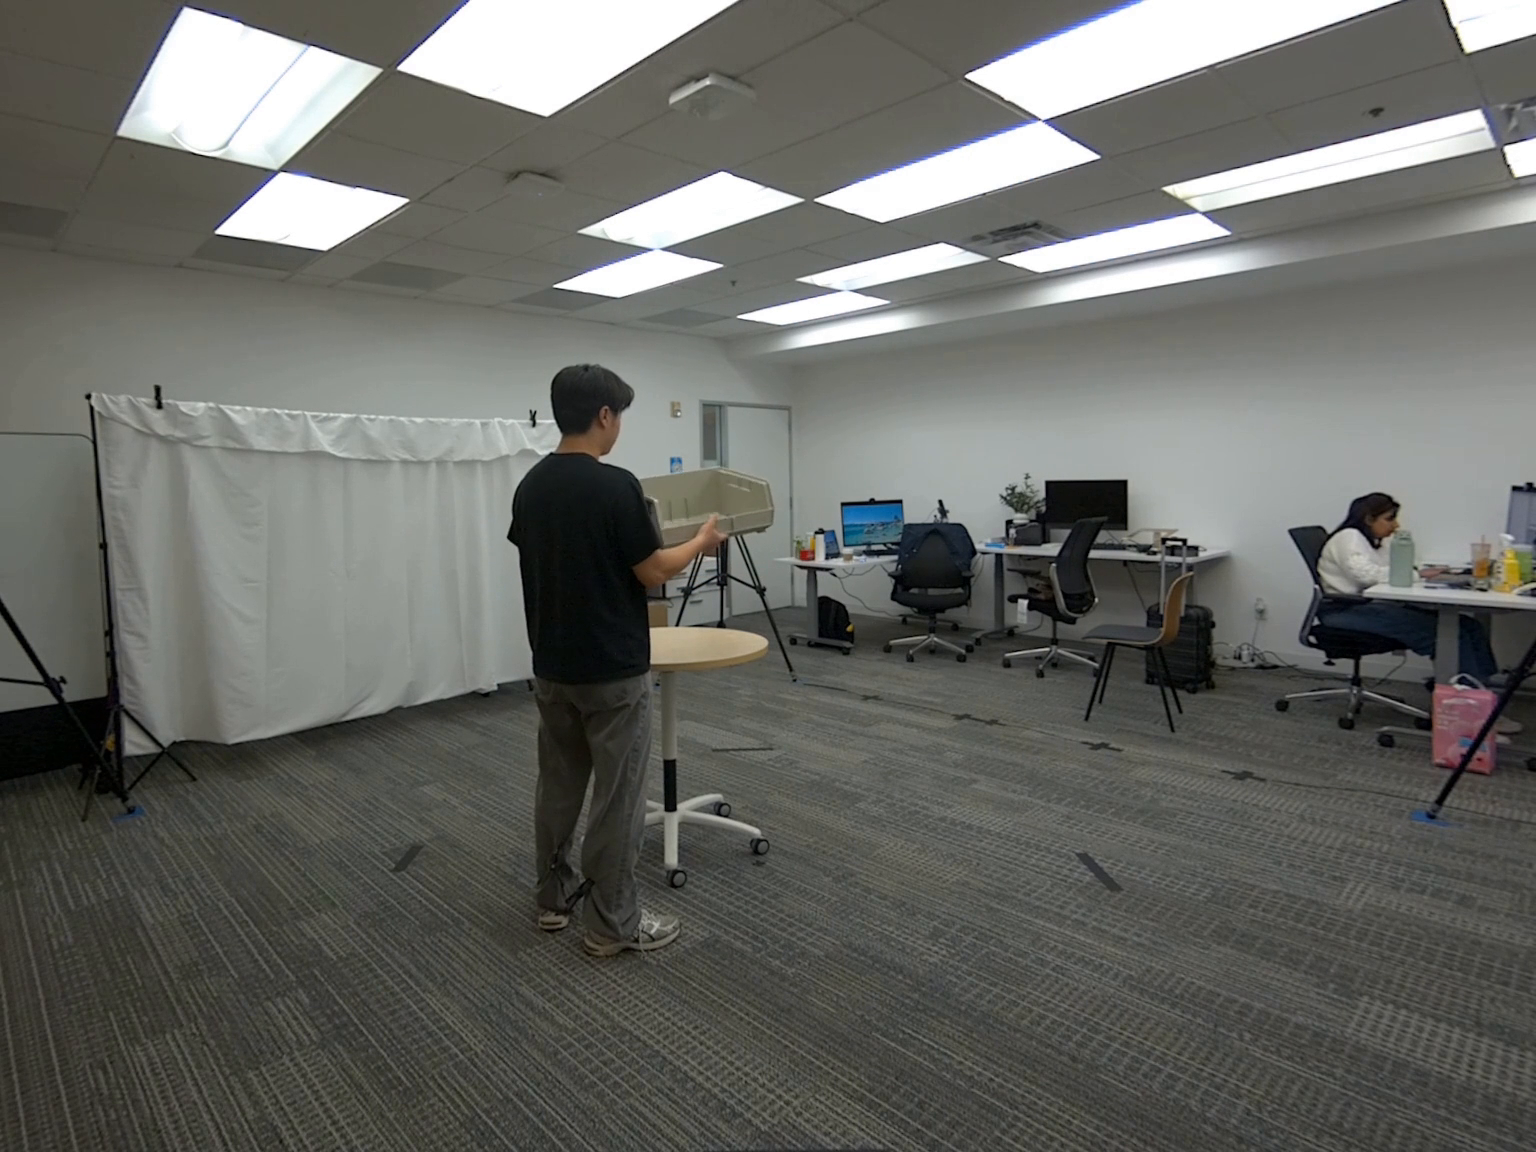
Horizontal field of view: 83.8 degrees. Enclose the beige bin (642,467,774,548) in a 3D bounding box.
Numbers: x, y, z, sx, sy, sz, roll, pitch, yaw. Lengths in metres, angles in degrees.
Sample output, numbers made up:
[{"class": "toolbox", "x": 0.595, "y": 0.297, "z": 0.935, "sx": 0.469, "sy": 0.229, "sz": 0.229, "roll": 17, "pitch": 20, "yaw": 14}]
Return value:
[{"class": "beige bin", "x": -0.257, "y": -0.223, "z": 2.880, "sx": 0.414, "sy": 0.186, "sz": 0.390, "roll": -13, "pitch": 19, "yaw": -28}]
